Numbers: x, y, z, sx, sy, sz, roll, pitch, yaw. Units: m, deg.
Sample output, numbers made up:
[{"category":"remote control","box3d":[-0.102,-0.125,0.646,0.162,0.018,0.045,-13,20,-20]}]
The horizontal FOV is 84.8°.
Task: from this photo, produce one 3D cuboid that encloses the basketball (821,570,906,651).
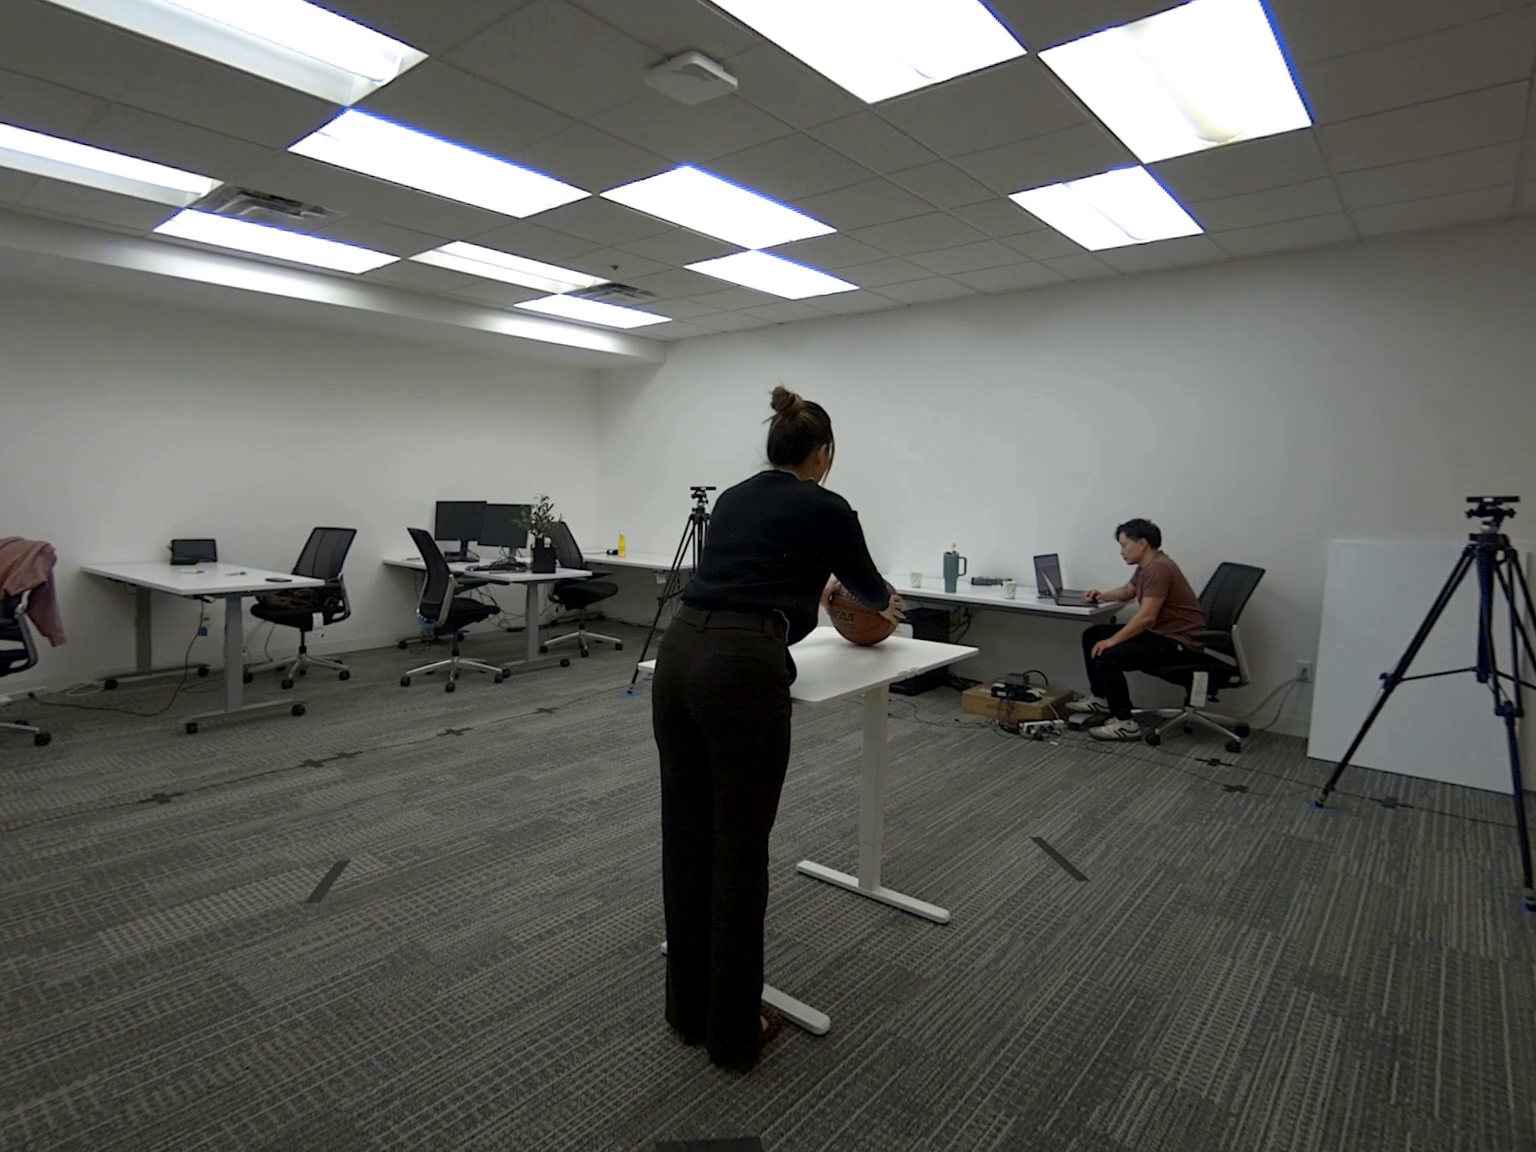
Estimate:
[{"category":"basketball","box3d":[0.312,0.107,2.812,0.235,0.235,0.237,1,4,-2]}]
